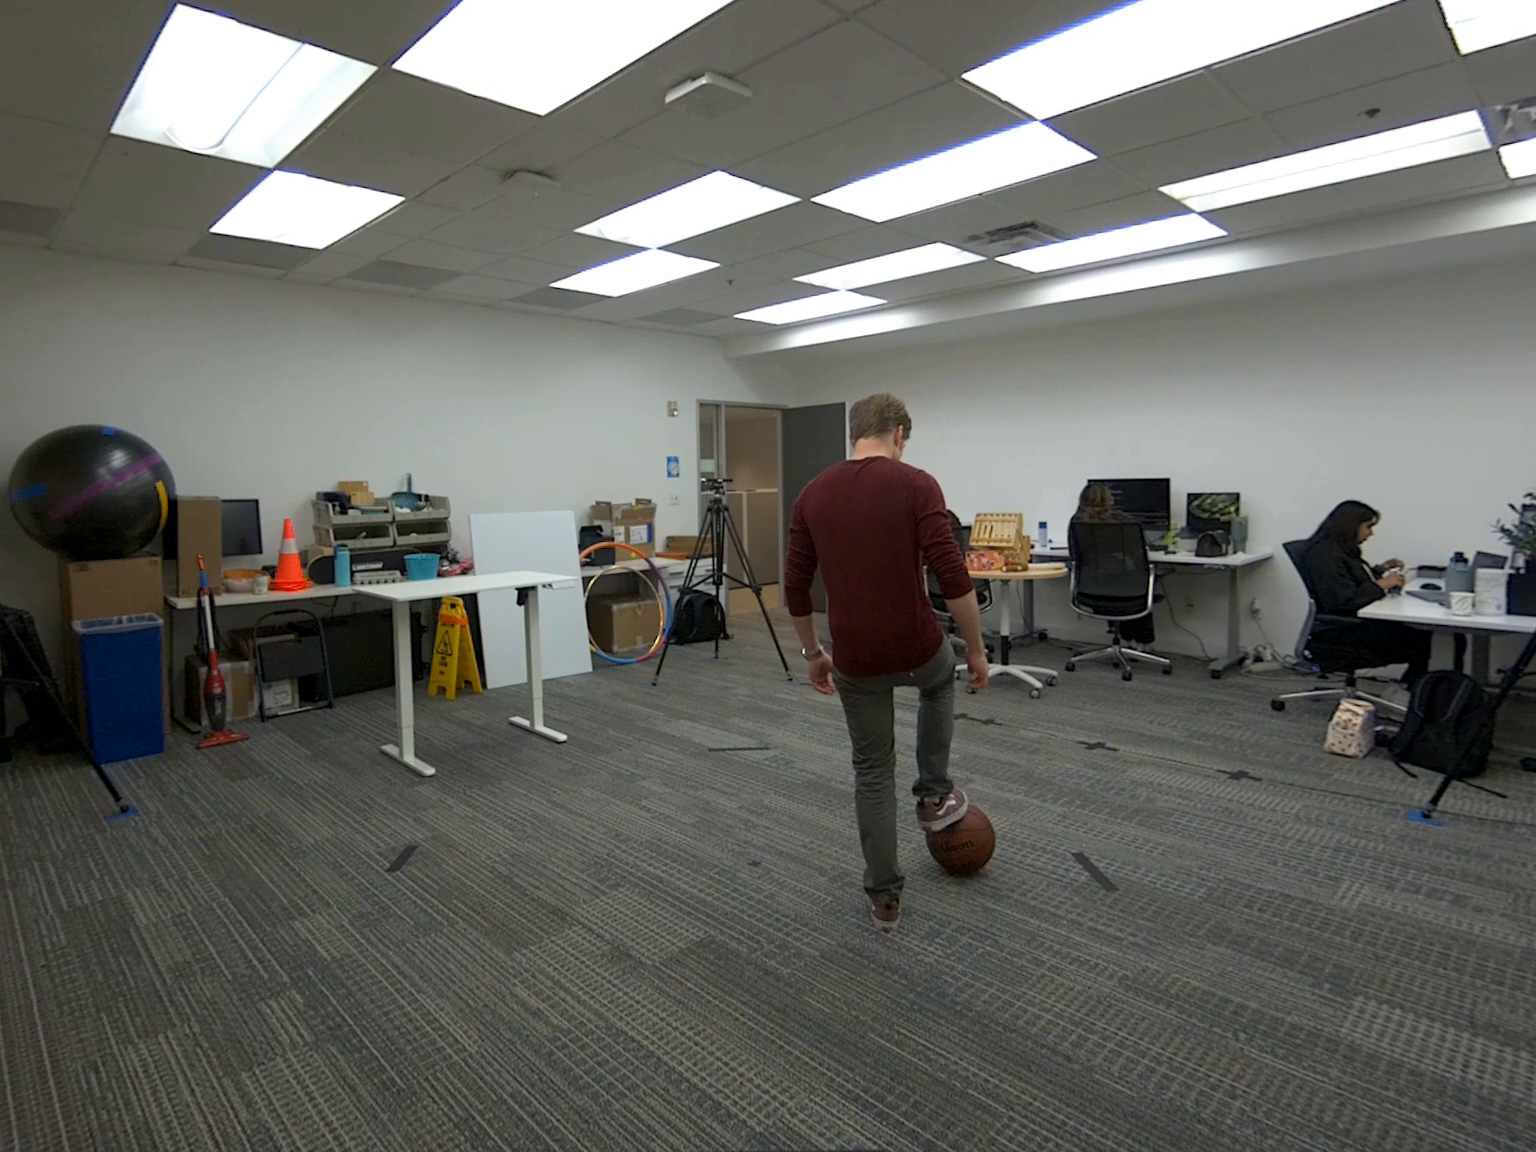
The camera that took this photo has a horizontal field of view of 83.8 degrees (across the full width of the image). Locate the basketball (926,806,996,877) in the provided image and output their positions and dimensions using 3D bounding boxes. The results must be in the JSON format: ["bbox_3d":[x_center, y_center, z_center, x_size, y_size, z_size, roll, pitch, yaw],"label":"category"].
[{"bbox_3d":[0.686,0.925,3.022,0.236,0.235,0.237,-1,5,-2],"label":"basketball"}]
